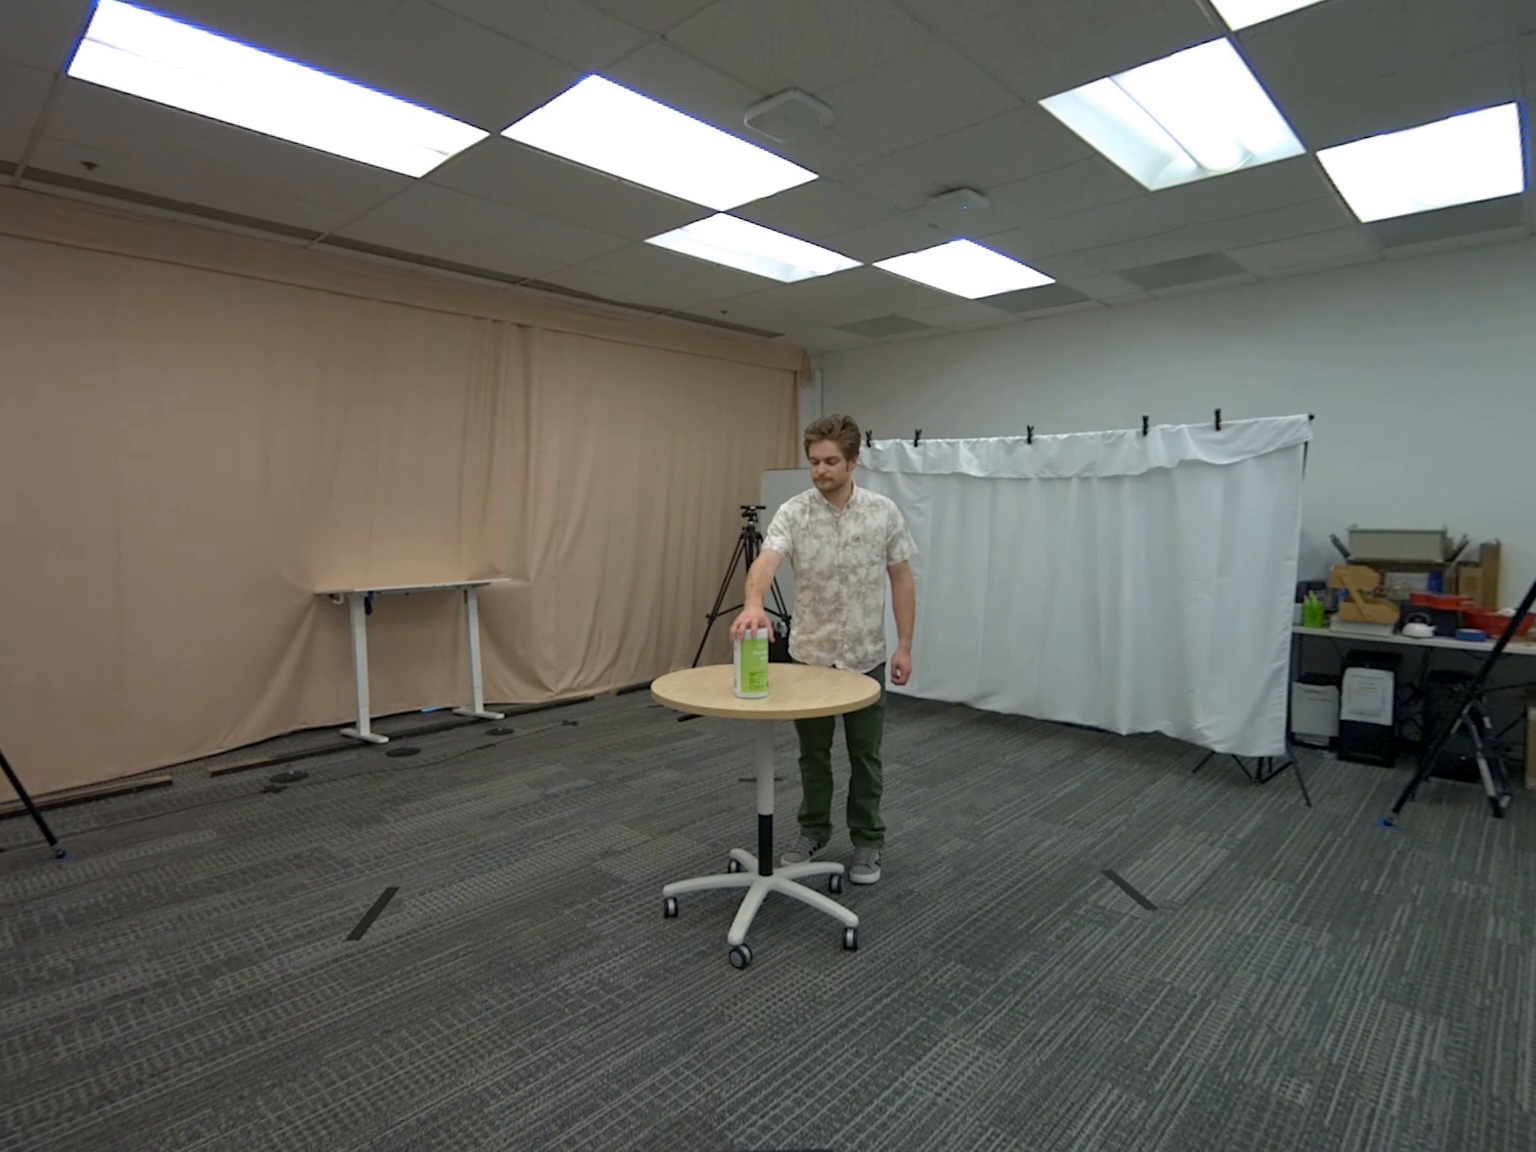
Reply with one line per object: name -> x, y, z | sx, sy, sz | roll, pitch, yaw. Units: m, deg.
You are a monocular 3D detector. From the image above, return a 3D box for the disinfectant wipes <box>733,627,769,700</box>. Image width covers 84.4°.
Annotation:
disinfectant wipes -> -0.053, 0.270, 2.656 | 0.118, 0.217, 0.118 | 0, 1, -2
